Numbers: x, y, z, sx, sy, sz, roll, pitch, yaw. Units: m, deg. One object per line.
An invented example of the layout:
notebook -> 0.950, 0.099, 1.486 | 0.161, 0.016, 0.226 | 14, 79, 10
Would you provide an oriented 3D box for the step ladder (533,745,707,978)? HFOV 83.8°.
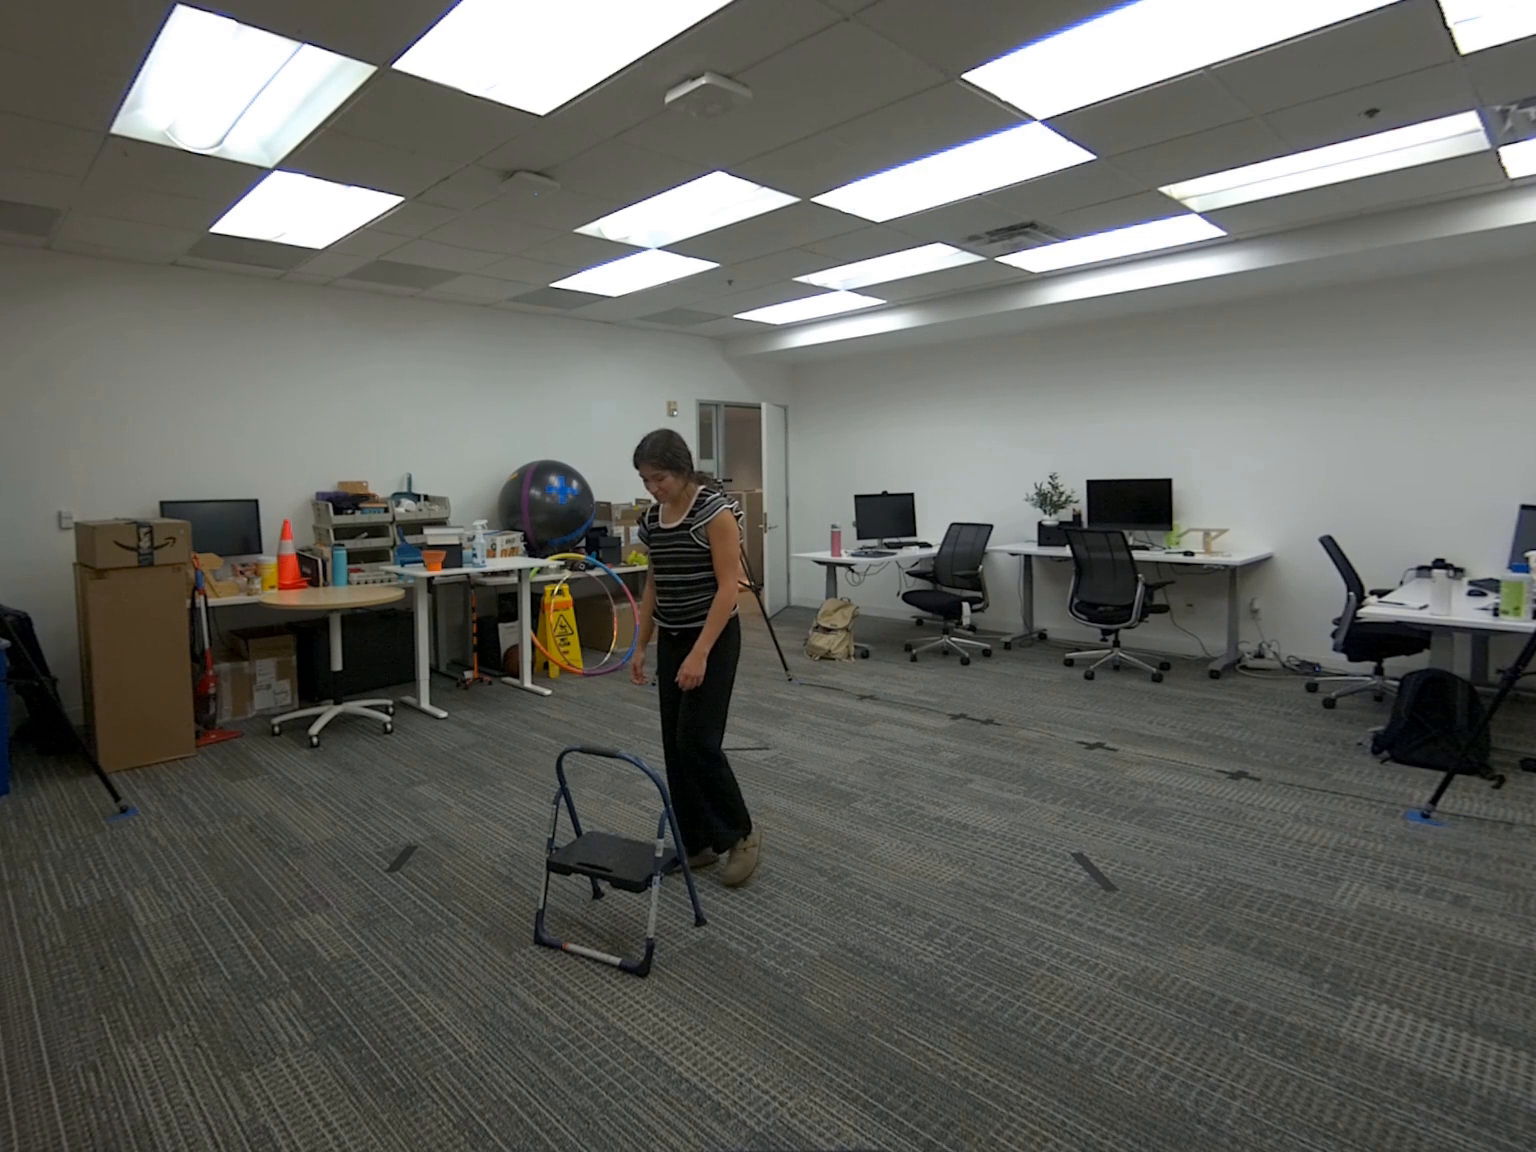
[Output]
step ladder -> -0.463, 0.807, 2.627 | 0.441, 0.603, 0.342 | 1, 5, 26
